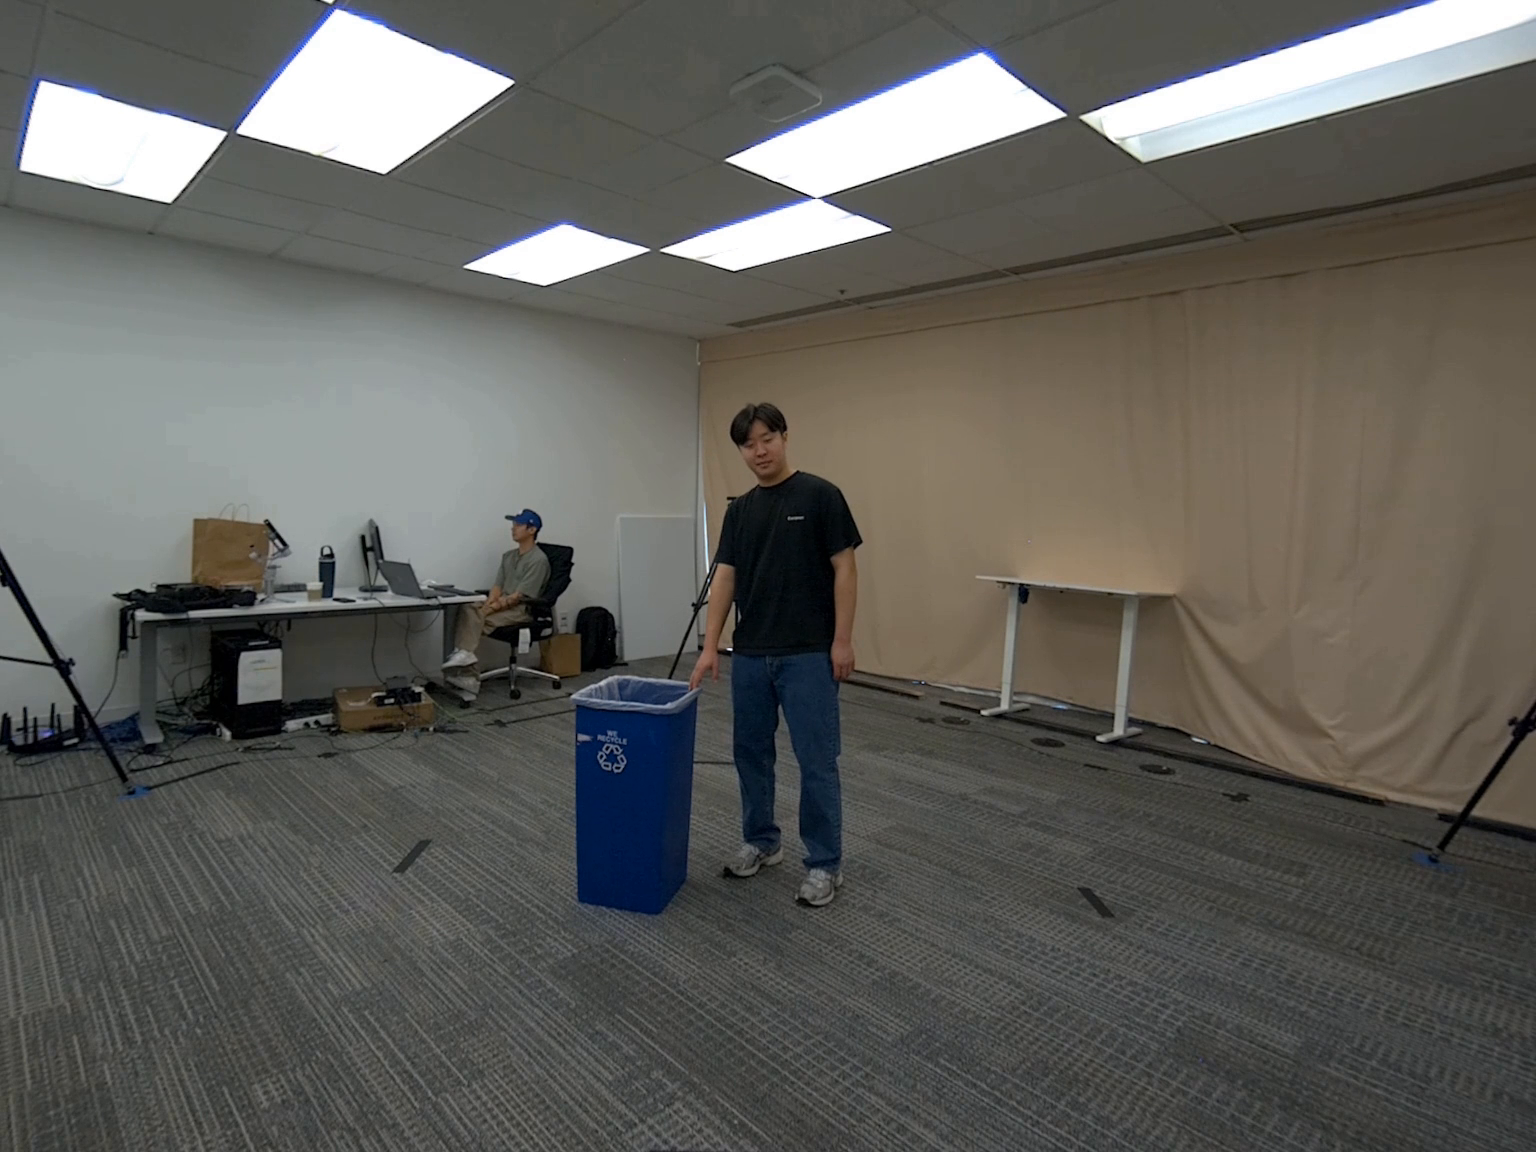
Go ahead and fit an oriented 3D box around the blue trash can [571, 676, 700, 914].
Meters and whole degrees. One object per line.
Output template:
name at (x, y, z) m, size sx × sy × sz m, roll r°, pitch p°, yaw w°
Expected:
blue trash can at (-0.473, 0.755, 2.955) m, size 0.379 × 0.712 × 0.374 m, roll 4°, pitch 4°, yaw 15°
